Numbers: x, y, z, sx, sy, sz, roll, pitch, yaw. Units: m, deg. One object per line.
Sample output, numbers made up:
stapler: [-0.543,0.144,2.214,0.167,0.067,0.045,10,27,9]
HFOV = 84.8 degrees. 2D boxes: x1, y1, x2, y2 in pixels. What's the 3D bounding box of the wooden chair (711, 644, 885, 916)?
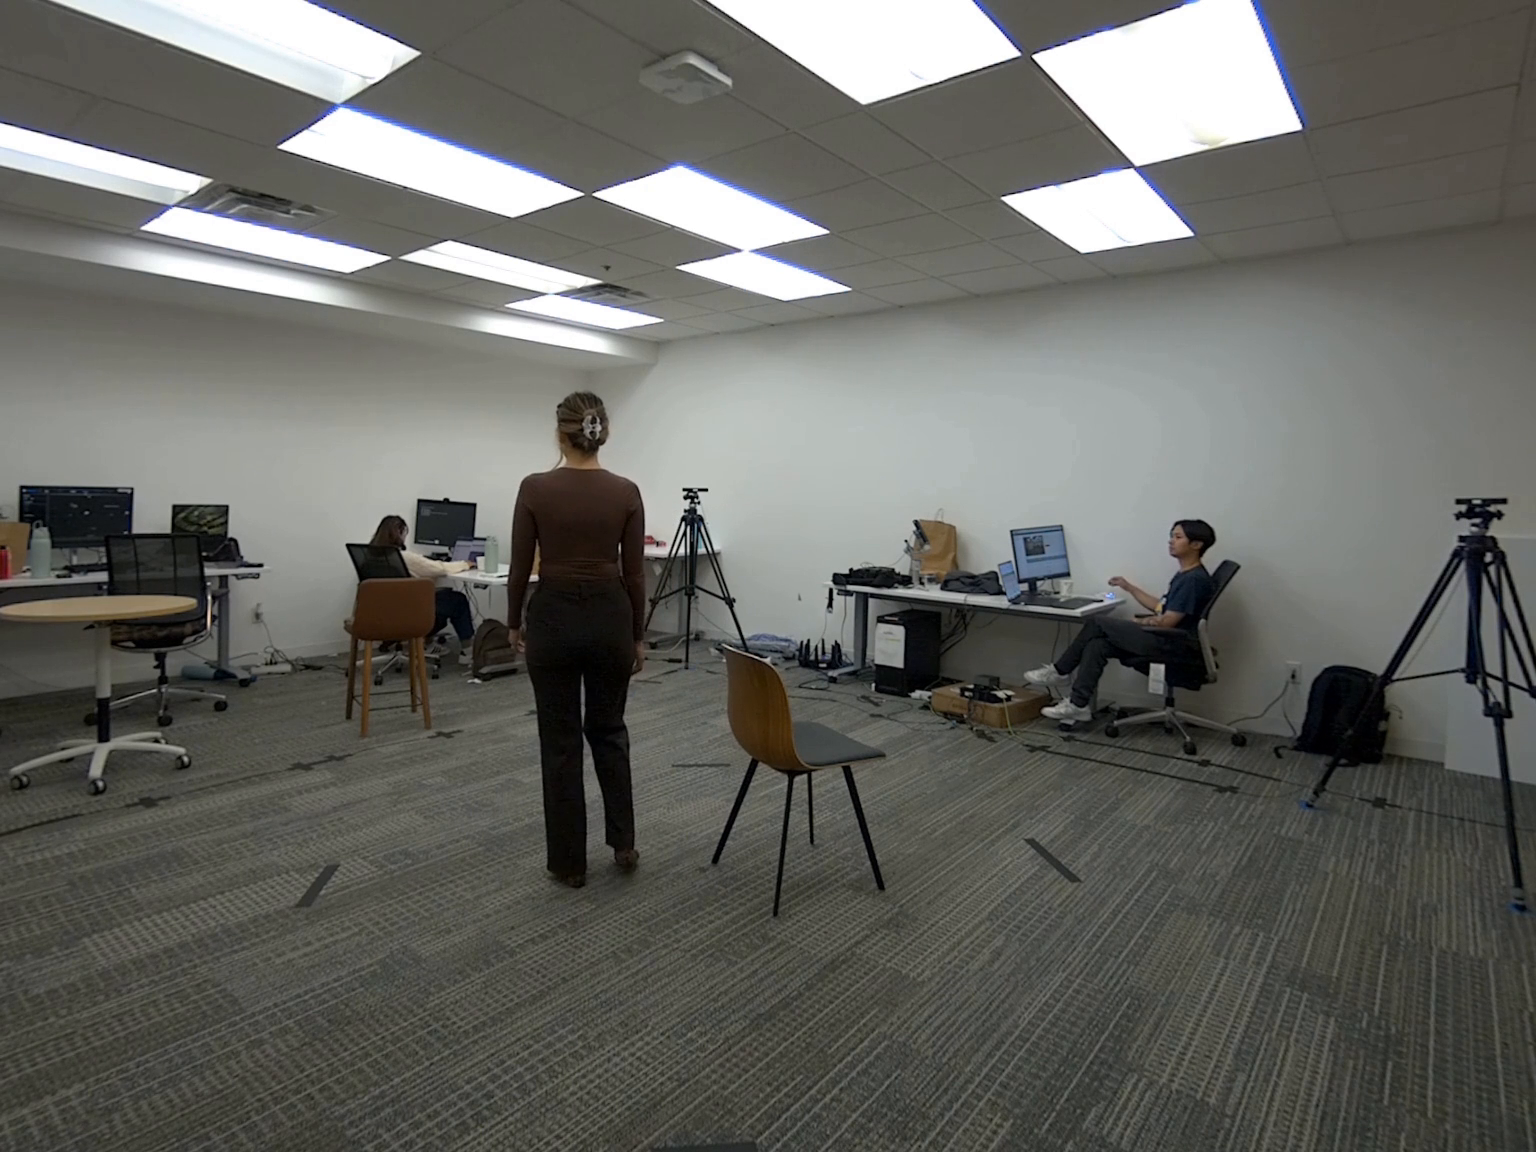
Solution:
wooden chair: [0.110,0.658,3.042,0.510,0.873,0.492,-5,6,-30]
